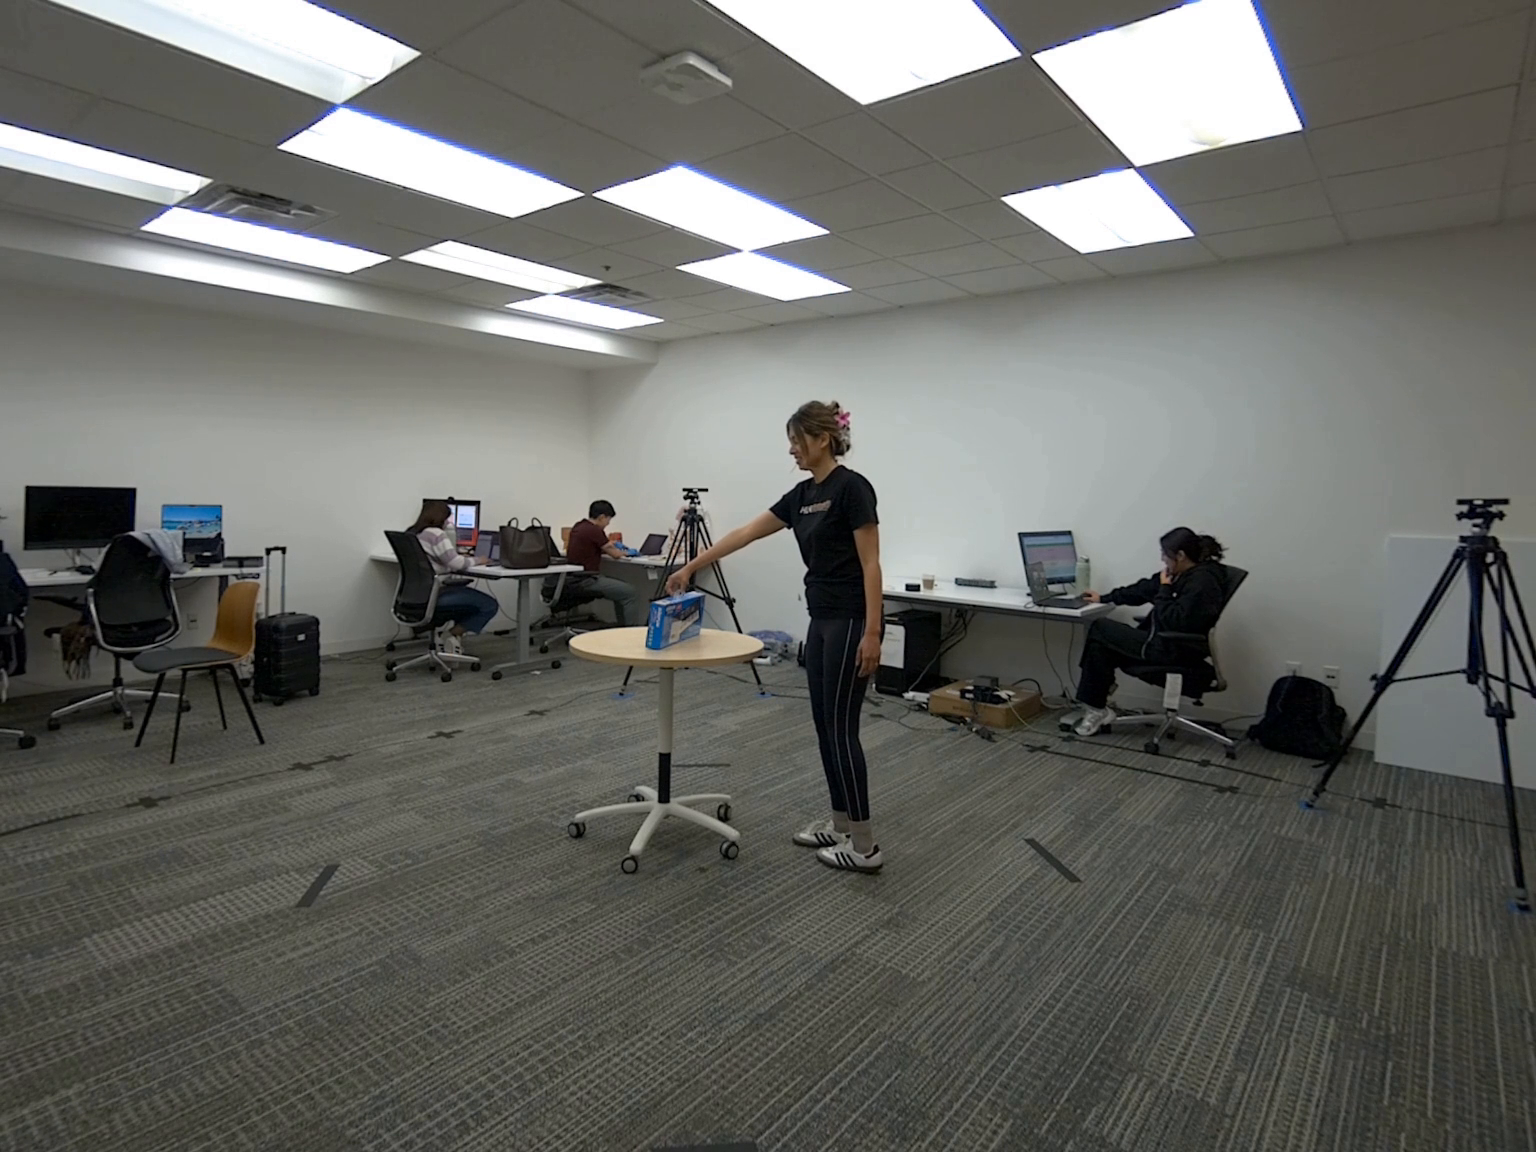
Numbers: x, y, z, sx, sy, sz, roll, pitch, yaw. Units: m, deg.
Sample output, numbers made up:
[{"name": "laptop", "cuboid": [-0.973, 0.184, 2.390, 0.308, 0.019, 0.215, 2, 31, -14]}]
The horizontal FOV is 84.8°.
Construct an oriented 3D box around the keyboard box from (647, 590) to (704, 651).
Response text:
[{"name": "keyboard box", "cuboid": [-0.368, 0.169, 3.376, 0.060, 0.175, 0.431, 8, 7, 14]}]
